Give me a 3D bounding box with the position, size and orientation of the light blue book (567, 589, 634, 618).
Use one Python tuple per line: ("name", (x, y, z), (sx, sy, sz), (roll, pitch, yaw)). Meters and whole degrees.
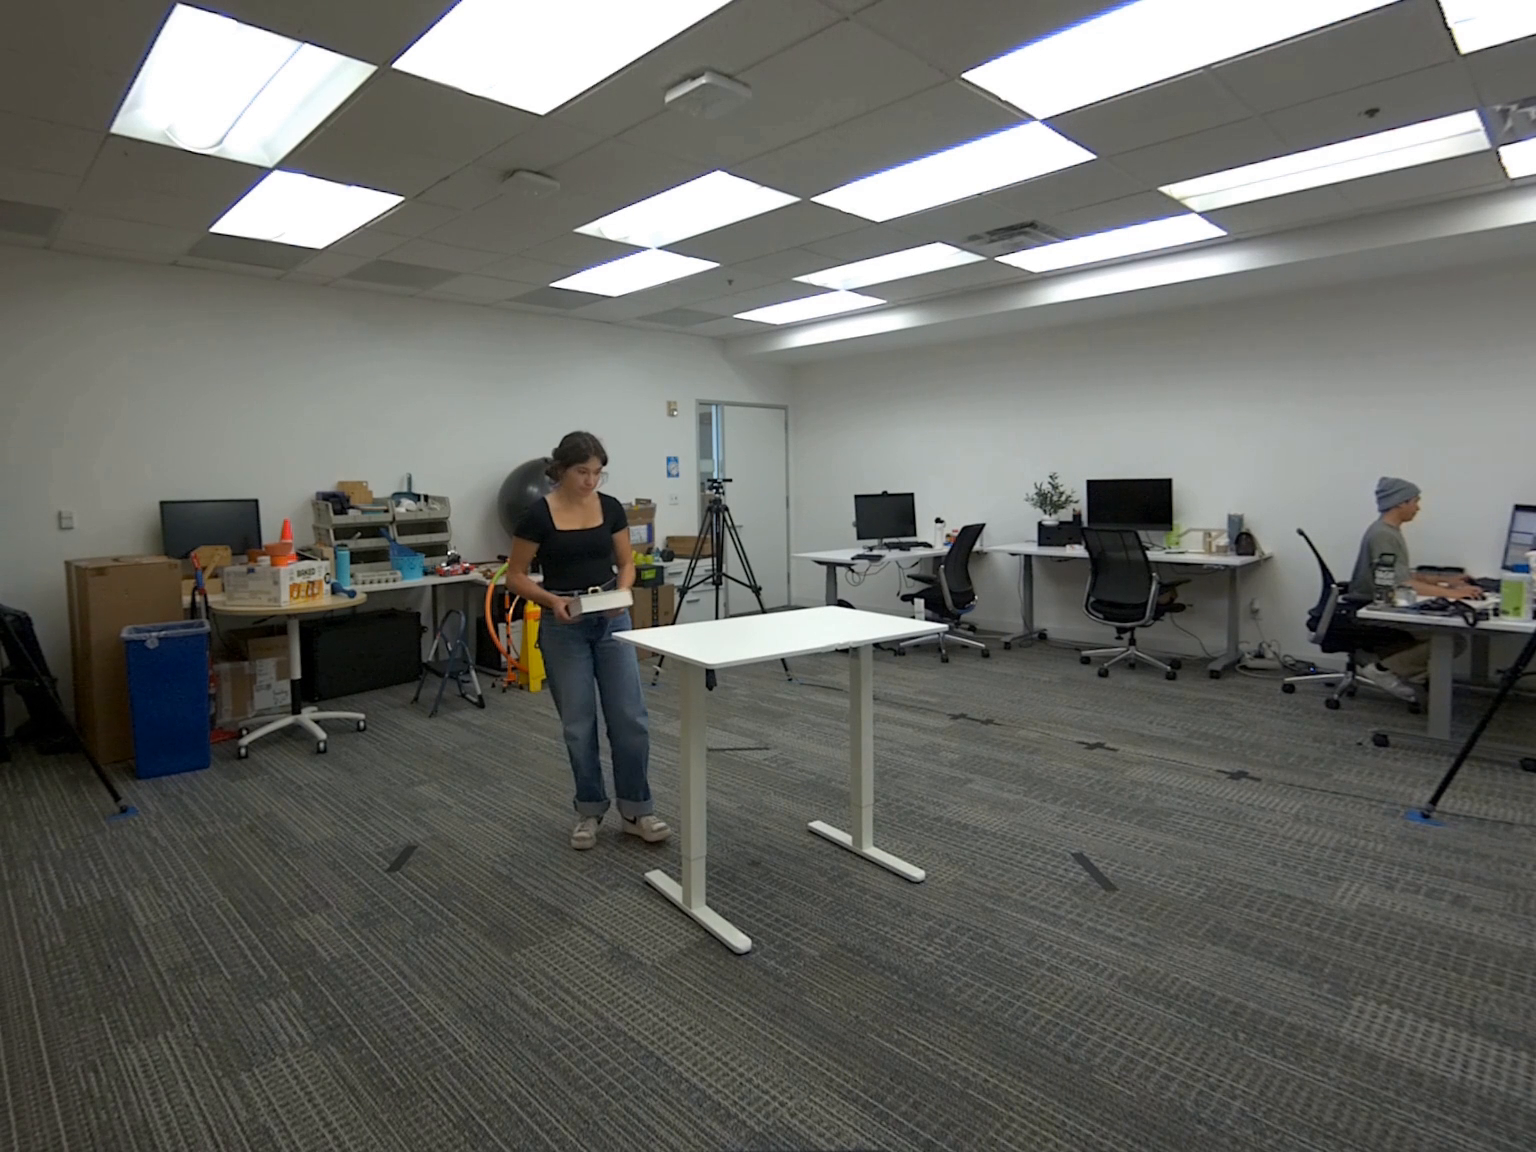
("light blue book", (-0.638, 0.112, 3.076), (0.187, 0.059, 0.264), (-8, -6, -28))
